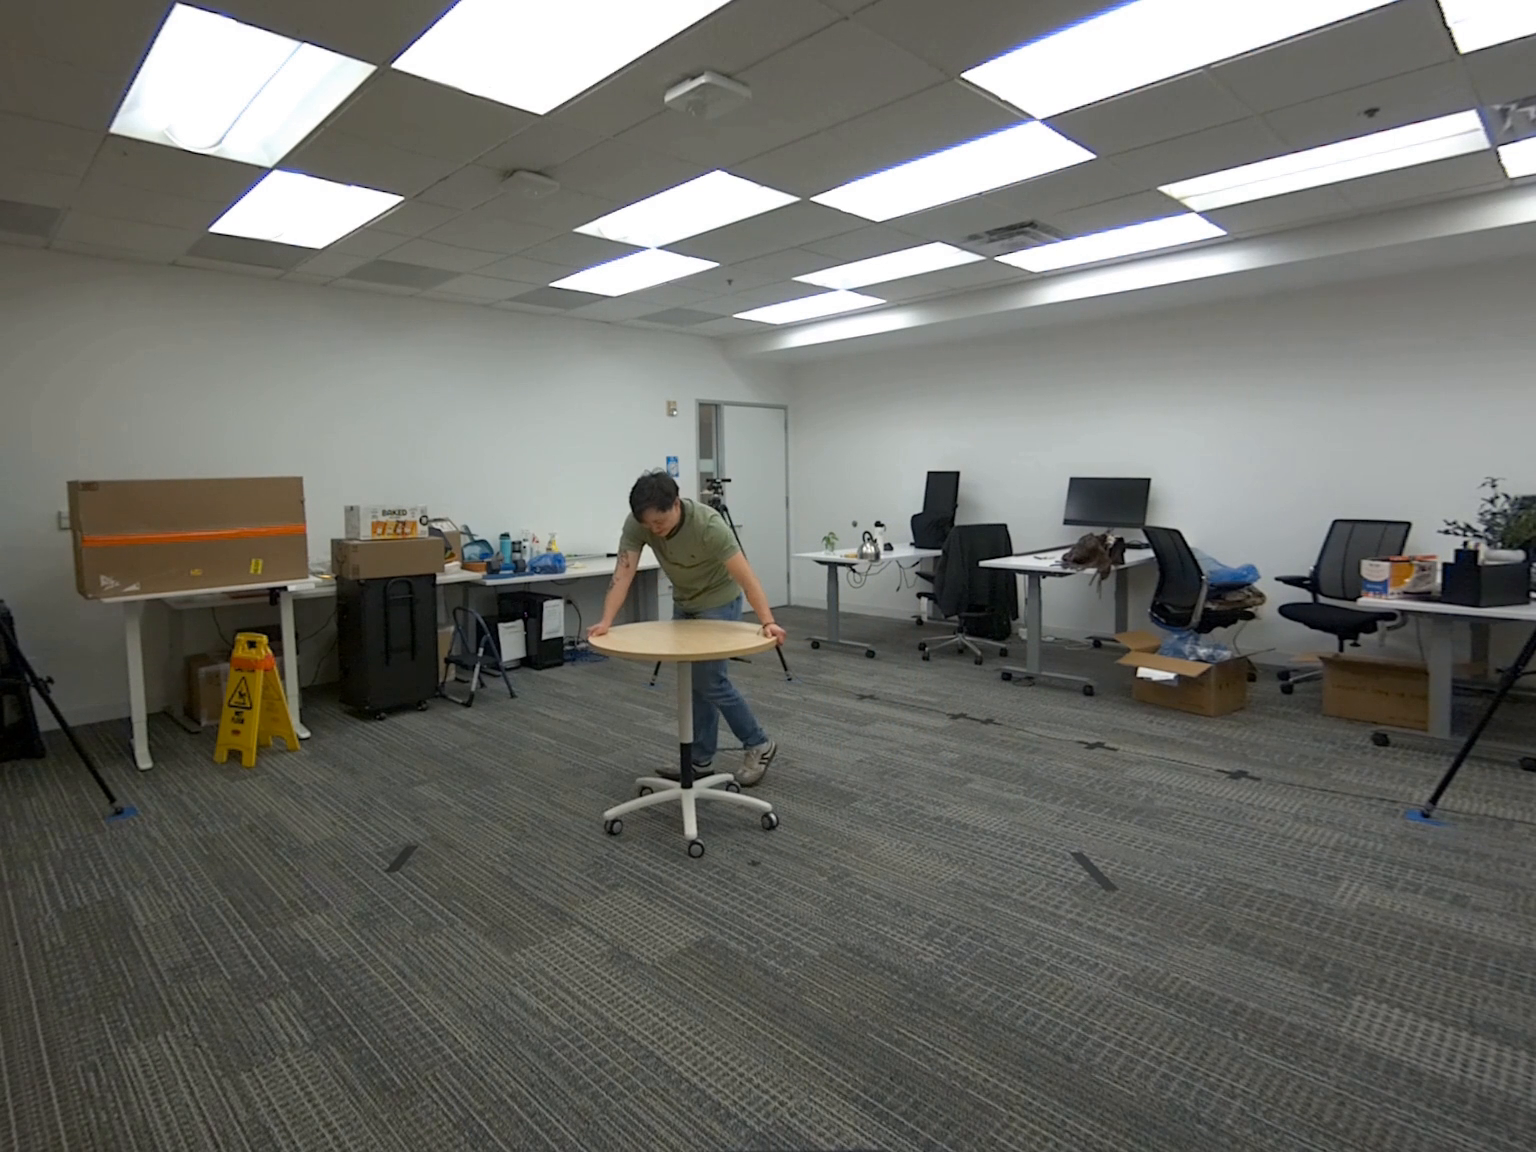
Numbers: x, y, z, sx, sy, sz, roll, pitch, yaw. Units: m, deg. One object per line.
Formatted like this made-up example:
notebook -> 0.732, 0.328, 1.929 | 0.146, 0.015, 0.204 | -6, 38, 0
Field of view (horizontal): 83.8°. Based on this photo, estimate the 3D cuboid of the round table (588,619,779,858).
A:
round table -> -0.338, 0.627, 3.485 | 0.763, 0.791, 0.767 | -1, 4, -2
